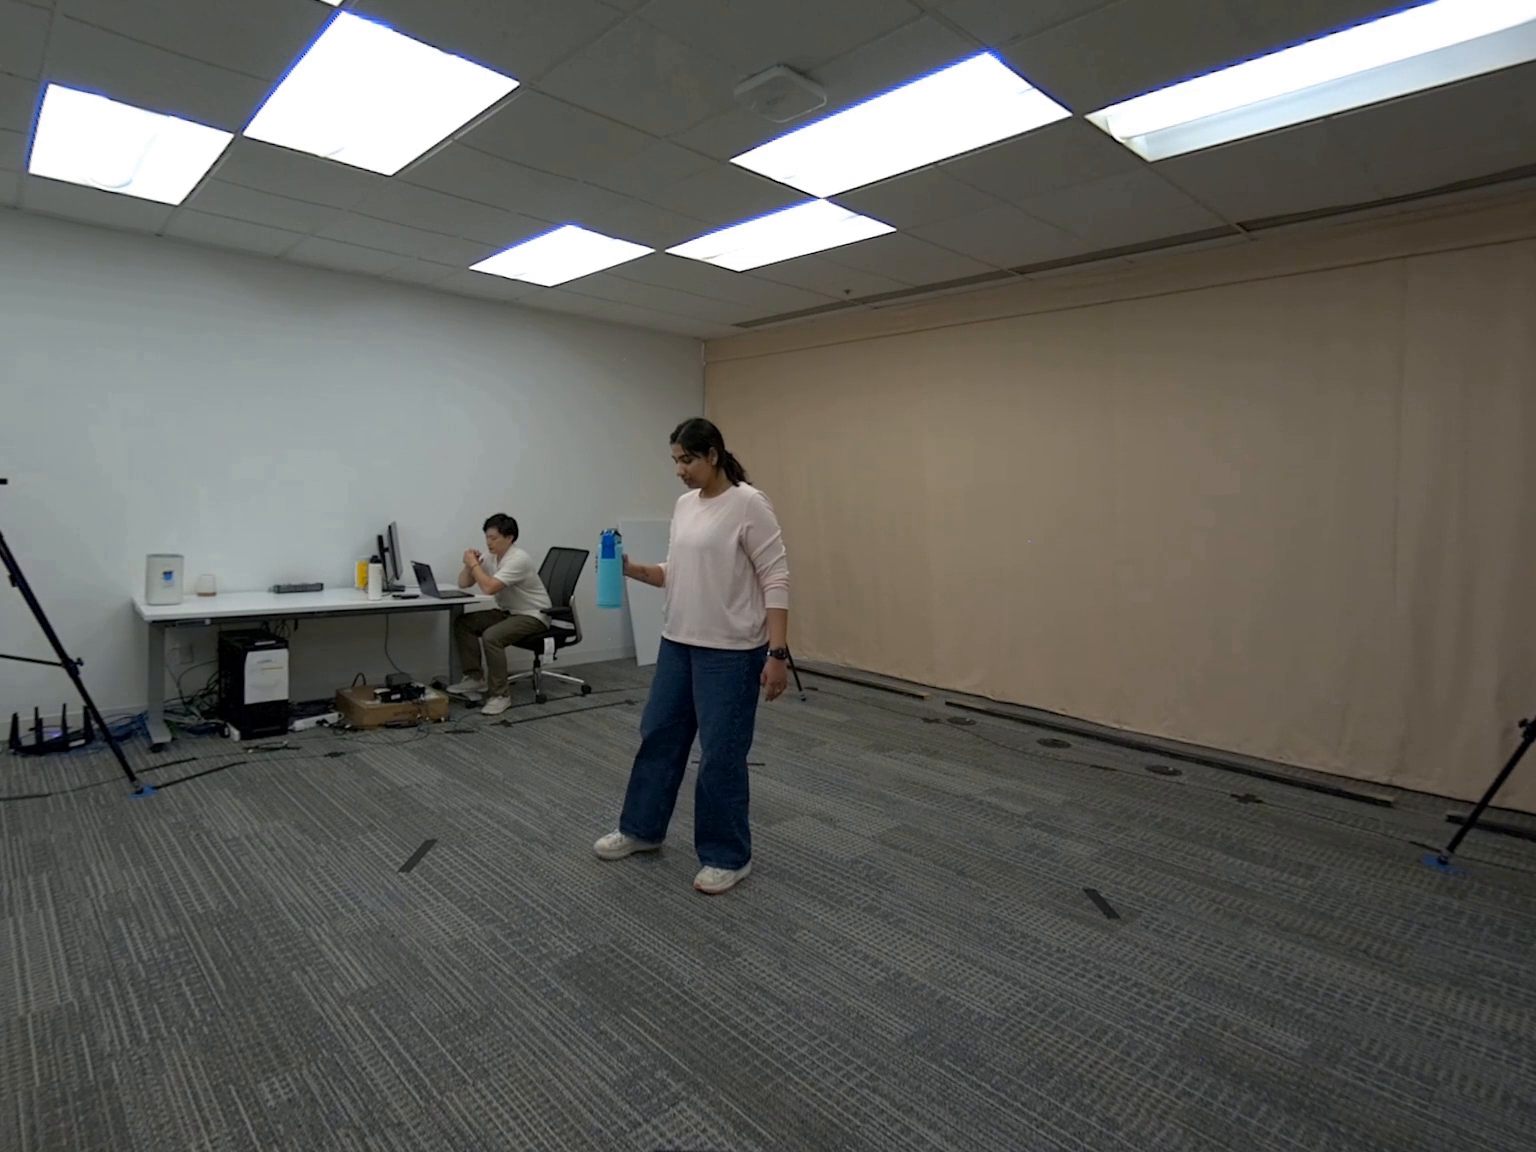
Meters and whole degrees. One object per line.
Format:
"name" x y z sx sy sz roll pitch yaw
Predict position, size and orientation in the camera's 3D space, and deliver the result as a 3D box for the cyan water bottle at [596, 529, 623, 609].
"cyan water bottle" -0.566 -0.032 2.995 0.092 0.282 0.092 1 4 -1
